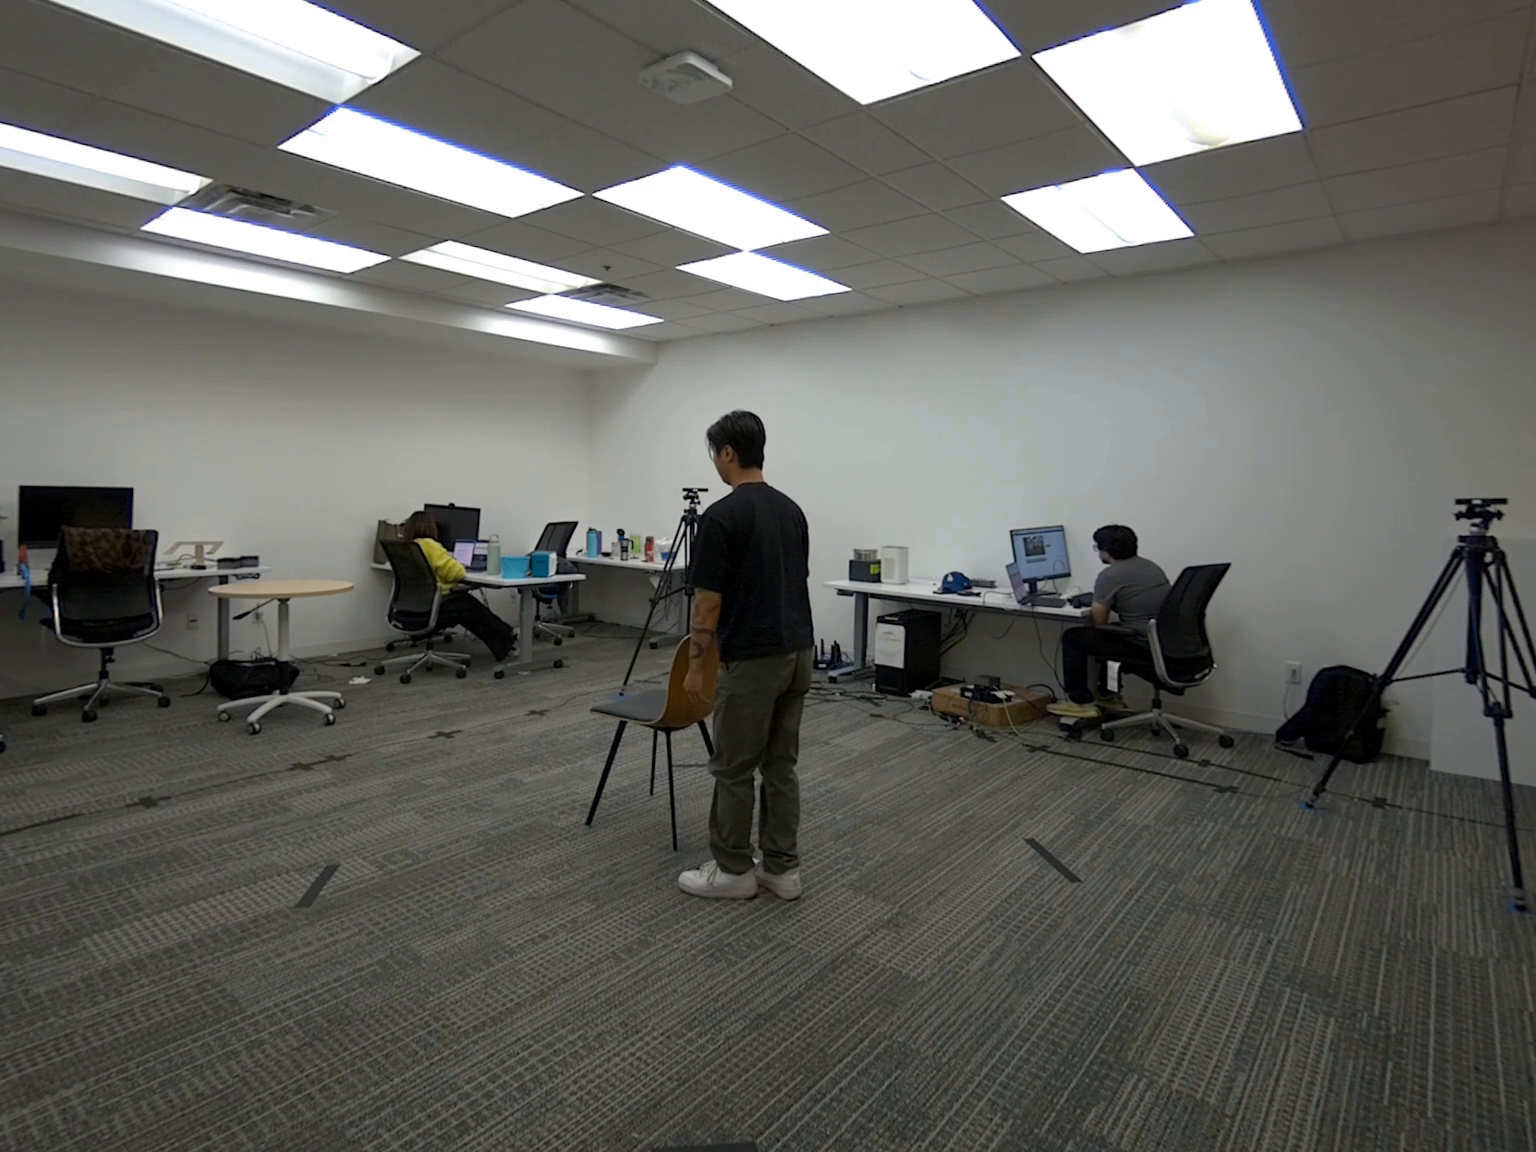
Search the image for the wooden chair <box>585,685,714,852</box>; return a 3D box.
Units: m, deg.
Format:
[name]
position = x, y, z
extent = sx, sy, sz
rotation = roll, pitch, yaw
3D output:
[wooden chair]
position = -0.456, 0.595, 3.543
extent = 0.540, 0.873, 0.466
rotation = 8, 7, 30
